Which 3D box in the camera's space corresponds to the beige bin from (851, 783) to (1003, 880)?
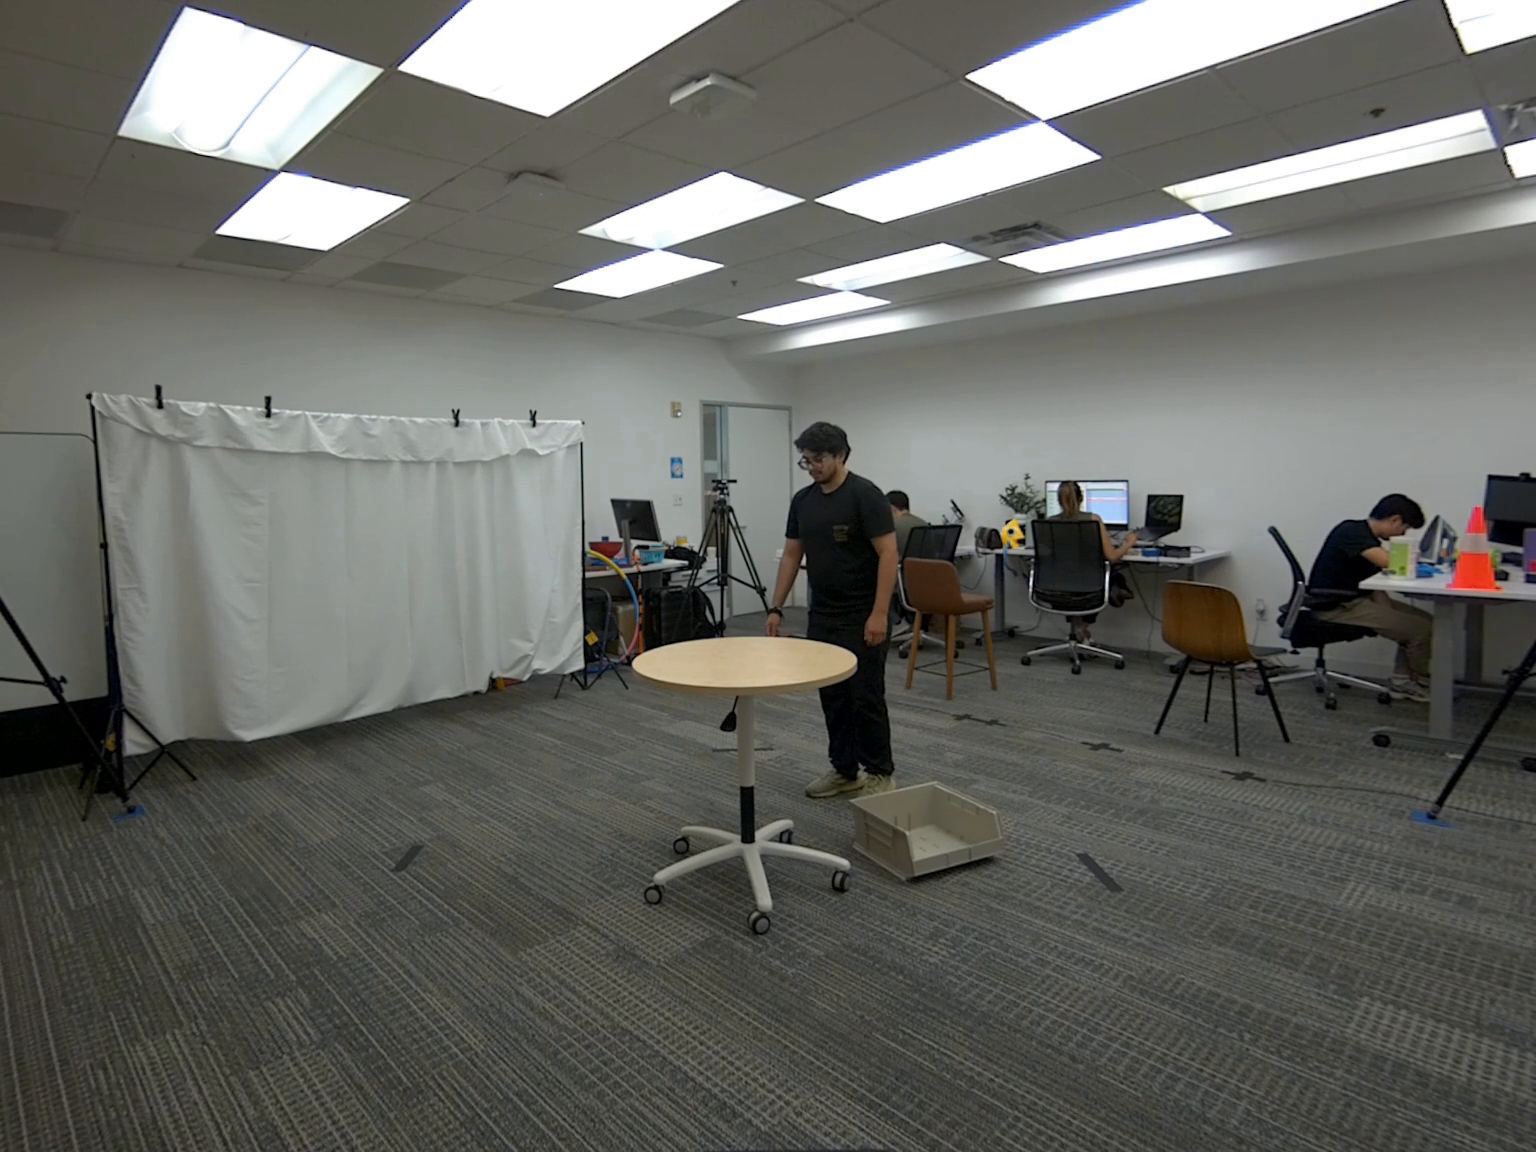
[{"bbox_3d":[0.585,0.946,3.164,0.413,0.188,0.387,-5,6,-28],"label":"beige bin"}]
